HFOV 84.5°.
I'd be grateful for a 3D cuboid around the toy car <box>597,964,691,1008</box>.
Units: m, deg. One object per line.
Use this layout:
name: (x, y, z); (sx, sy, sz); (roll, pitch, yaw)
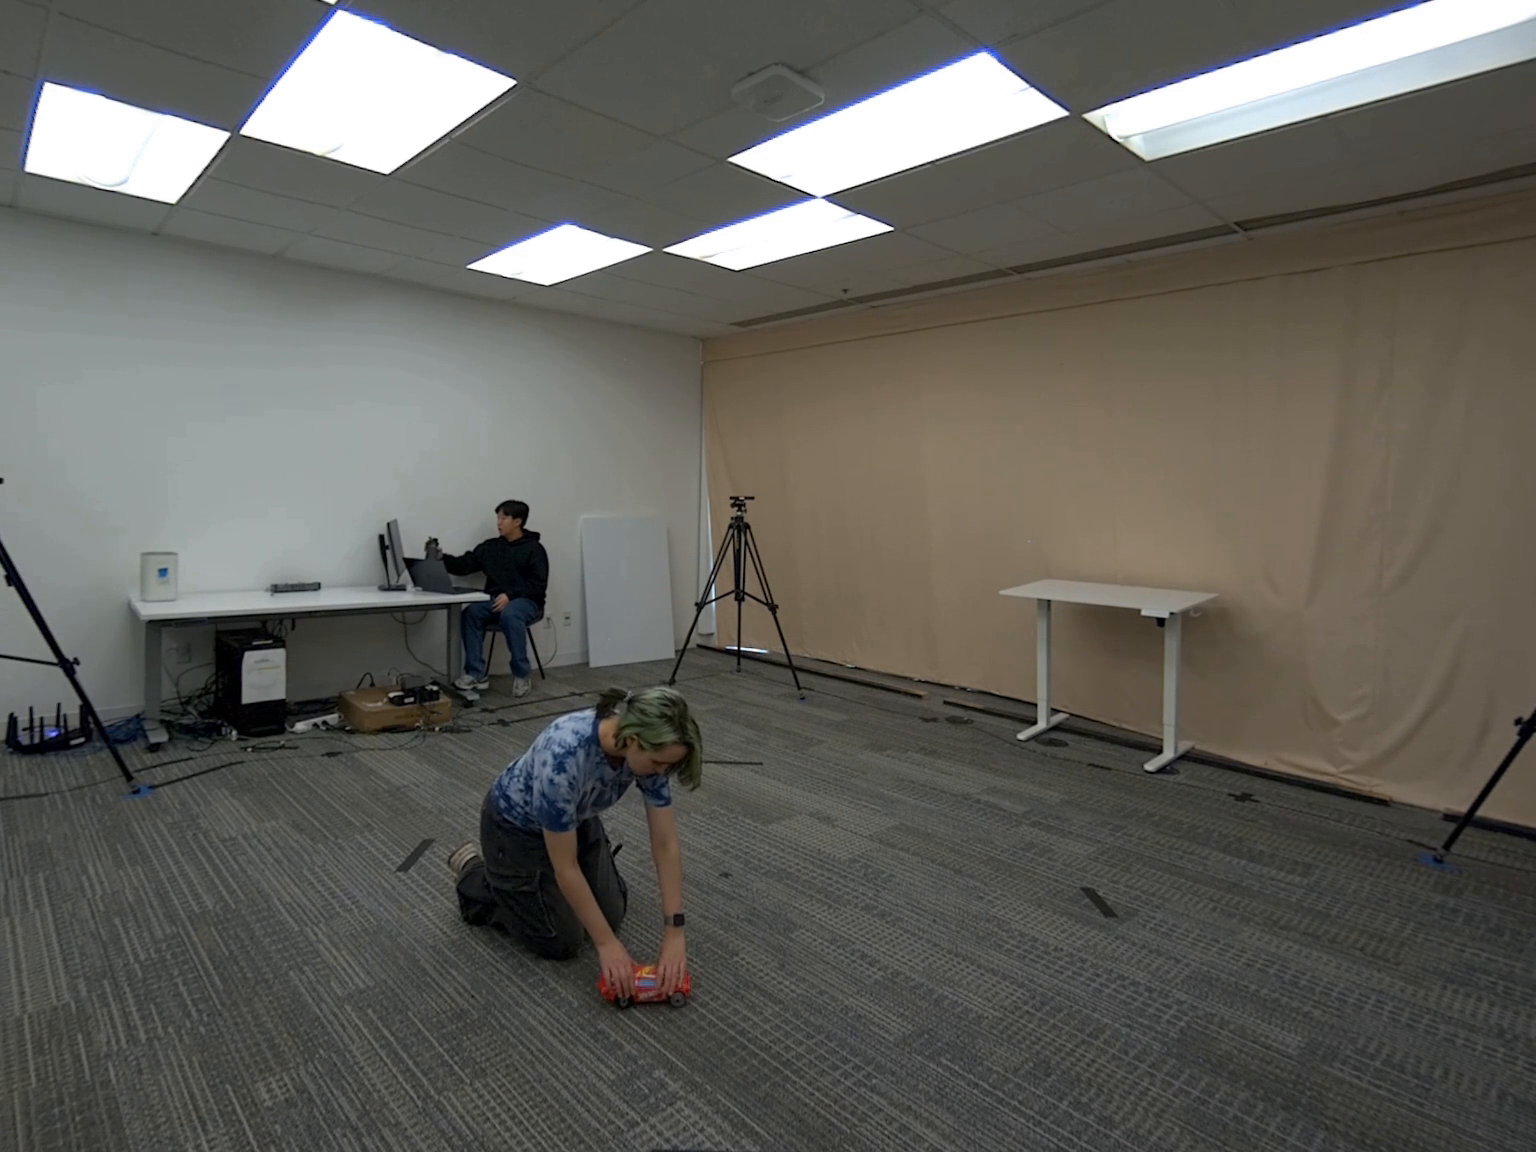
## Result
toy car: (-0.351, 1.139, 2.324); (0.254, 0.083, 0.131); (10, 6, -3)
